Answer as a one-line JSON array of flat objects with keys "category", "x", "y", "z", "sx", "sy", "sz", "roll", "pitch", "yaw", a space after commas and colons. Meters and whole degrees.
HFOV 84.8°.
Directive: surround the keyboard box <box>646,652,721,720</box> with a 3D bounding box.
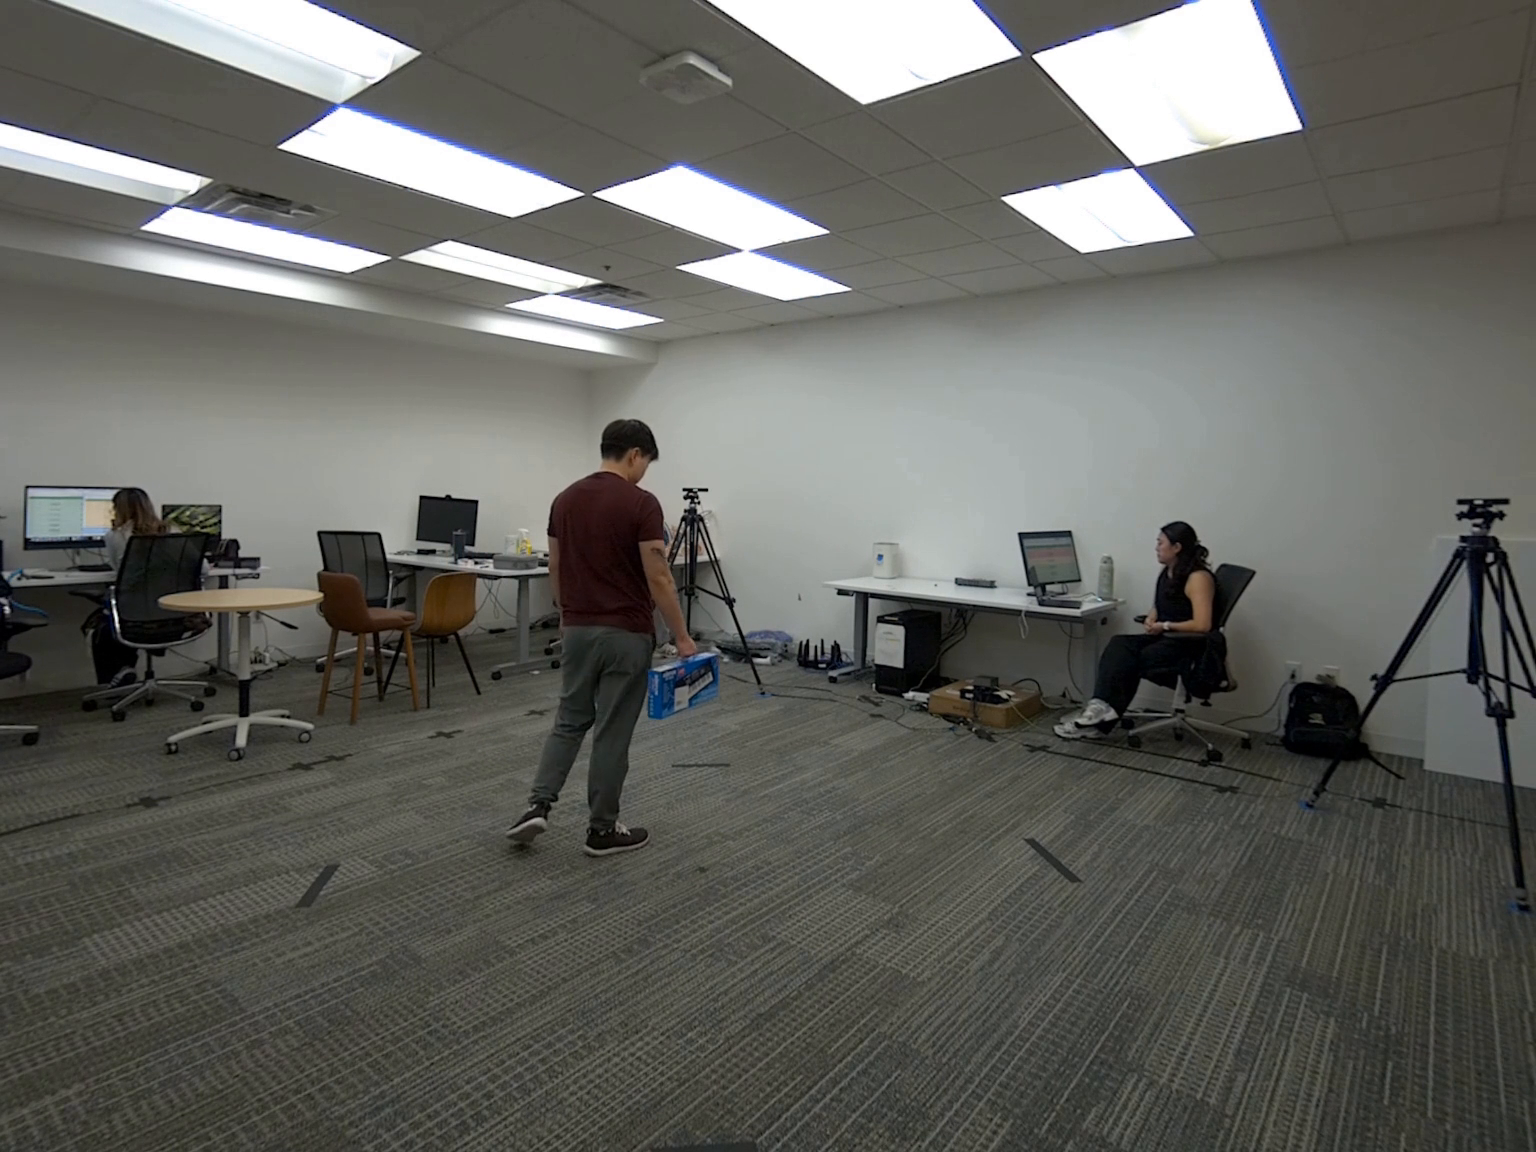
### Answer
[{"category": "keyboard box", "x": -0.332, "y": 0.411, "z": 3.215, "sx": 0.061, "sy": 0.175, "sz": 0.426, "roll": 3, "pitch": 4, "yaw": 25}]
